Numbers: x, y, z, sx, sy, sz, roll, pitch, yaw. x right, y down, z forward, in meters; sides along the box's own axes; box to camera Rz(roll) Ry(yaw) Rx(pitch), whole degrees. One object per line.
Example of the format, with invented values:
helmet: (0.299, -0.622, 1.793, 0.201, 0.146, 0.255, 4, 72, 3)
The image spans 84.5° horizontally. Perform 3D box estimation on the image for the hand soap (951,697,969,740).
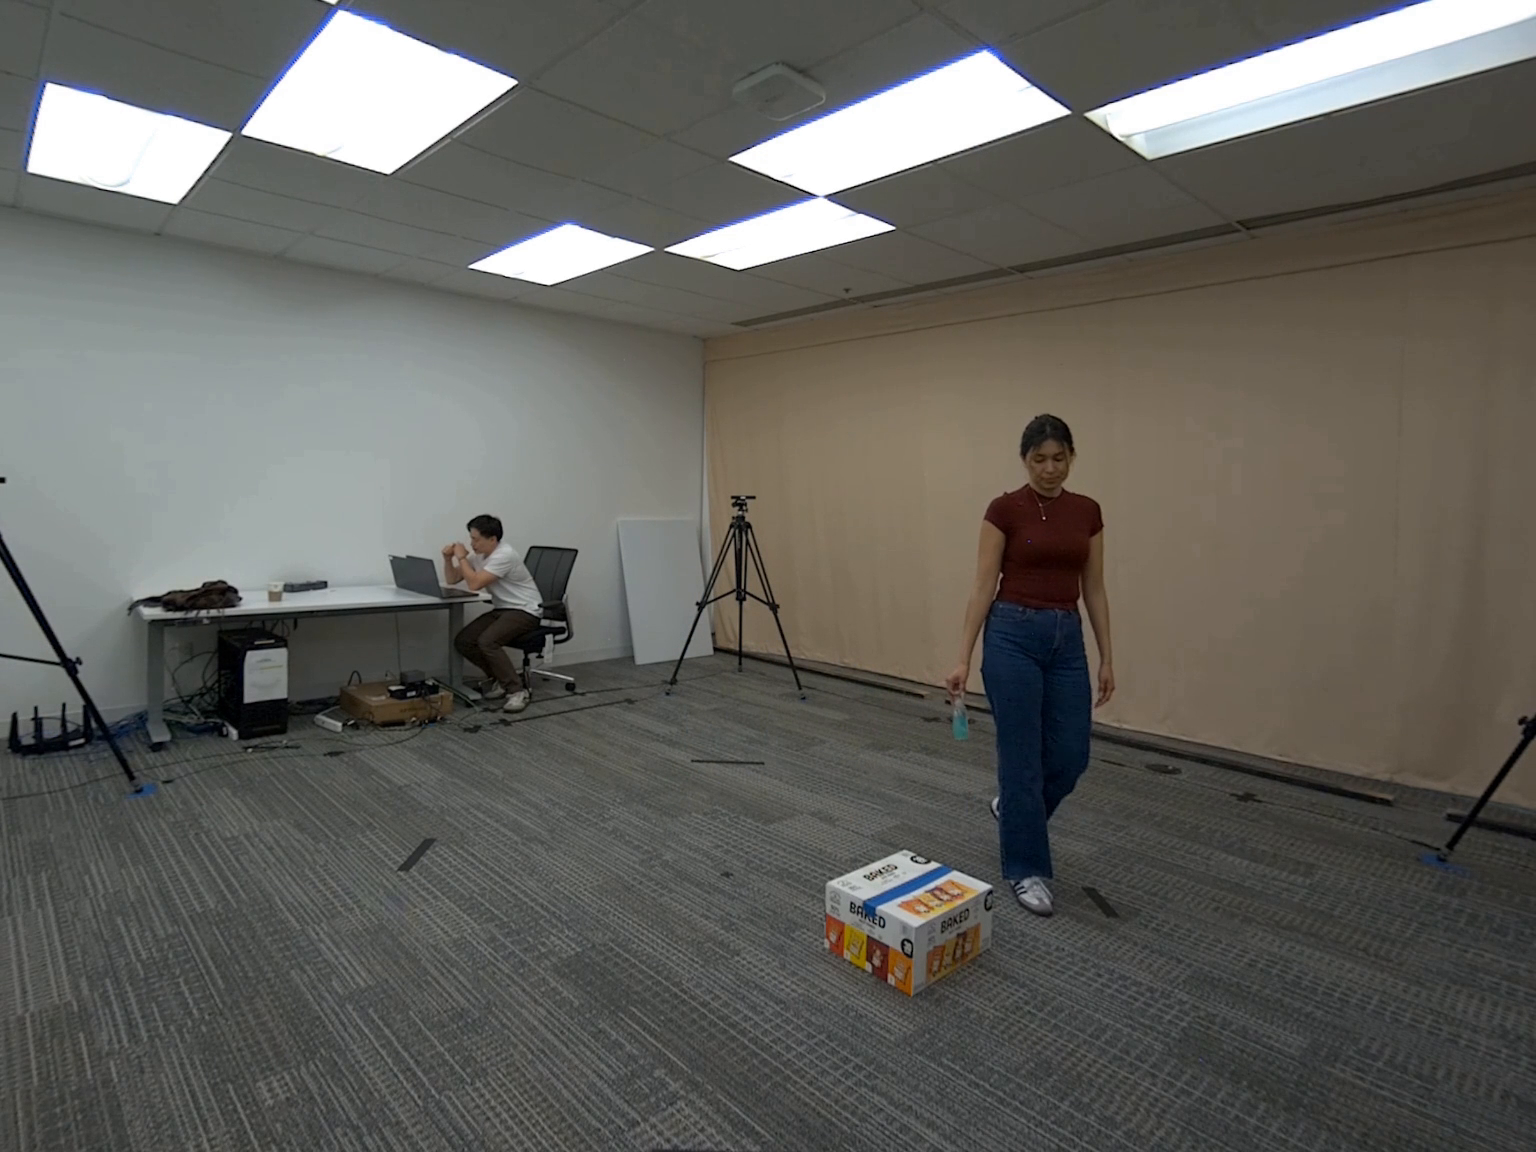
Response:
hand soap: (0.666, 0.484, 2.929, 0.044, 0.168, 0.083, 1, 1, 32)
